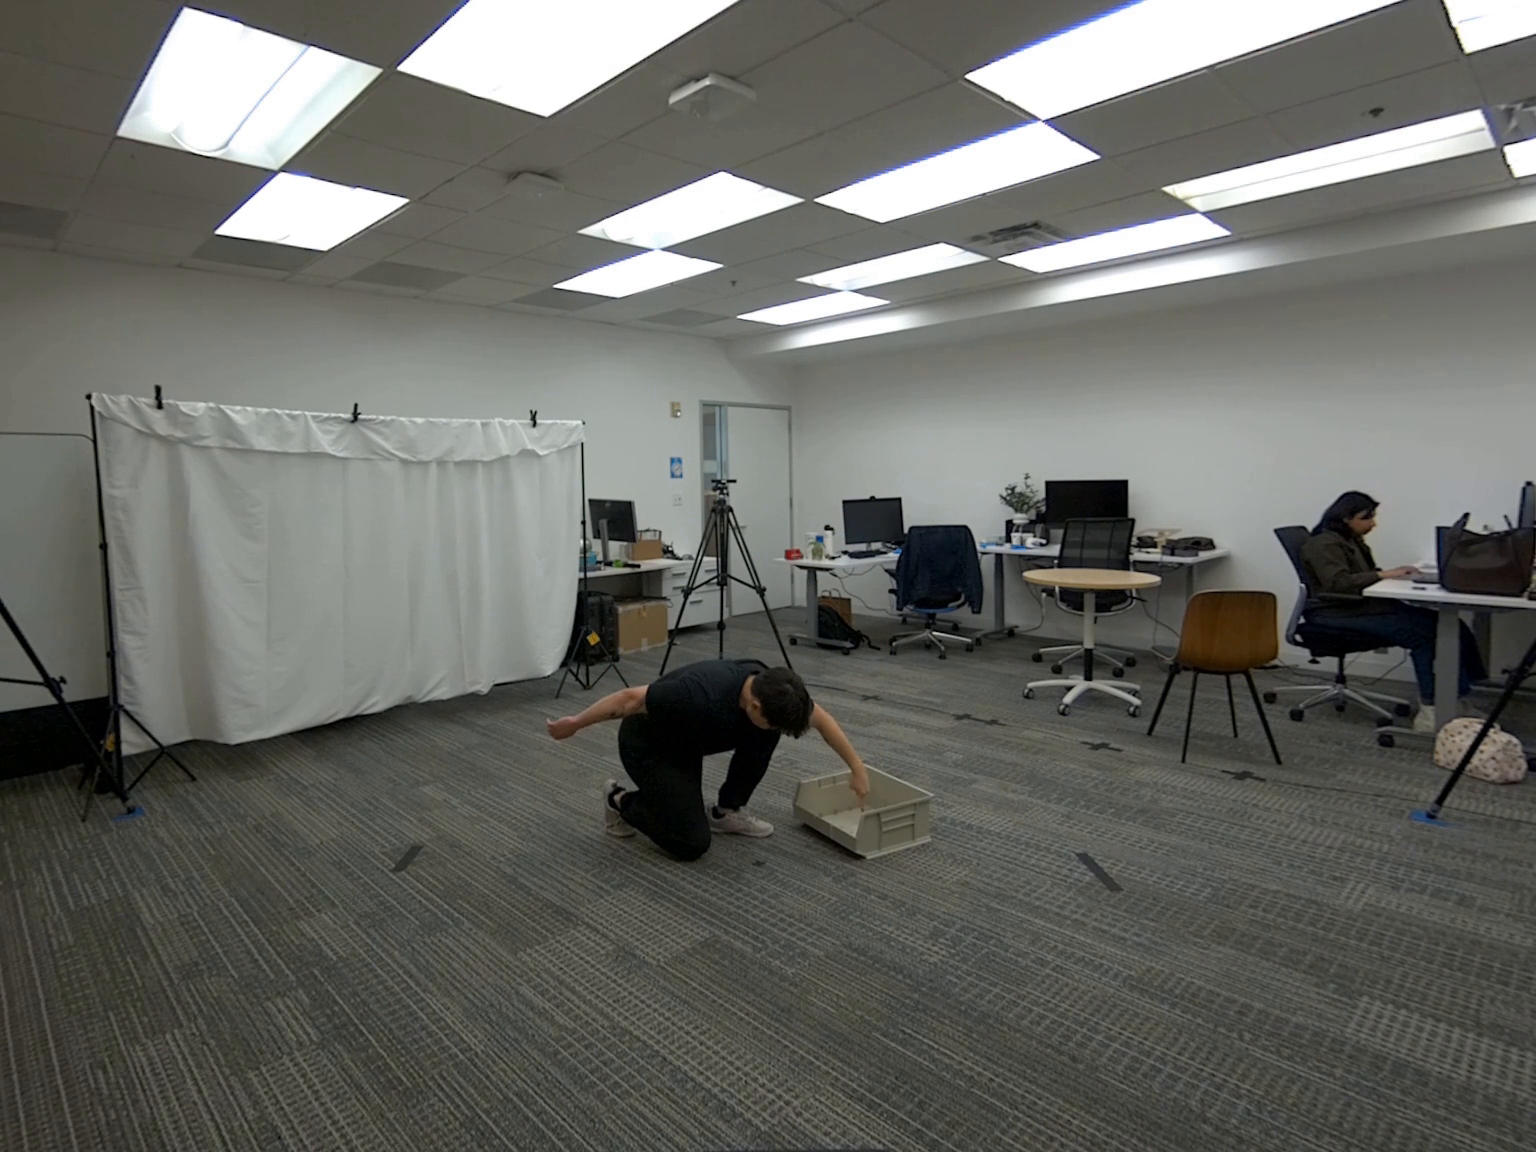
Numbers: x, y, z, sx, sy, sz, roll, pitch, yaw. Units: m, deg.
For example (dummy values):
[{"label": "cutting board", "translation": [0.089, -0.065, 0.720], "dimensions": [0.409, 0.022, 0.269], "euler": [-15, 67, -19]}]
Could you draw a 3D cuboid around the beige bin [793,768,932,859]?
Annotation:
[{"label": "beige bin", "translation": [0.364, 0.914, 3.357], "dimensions": [0.368, 0.188, 0.434], "euler": [-3, 5, -30]}]
